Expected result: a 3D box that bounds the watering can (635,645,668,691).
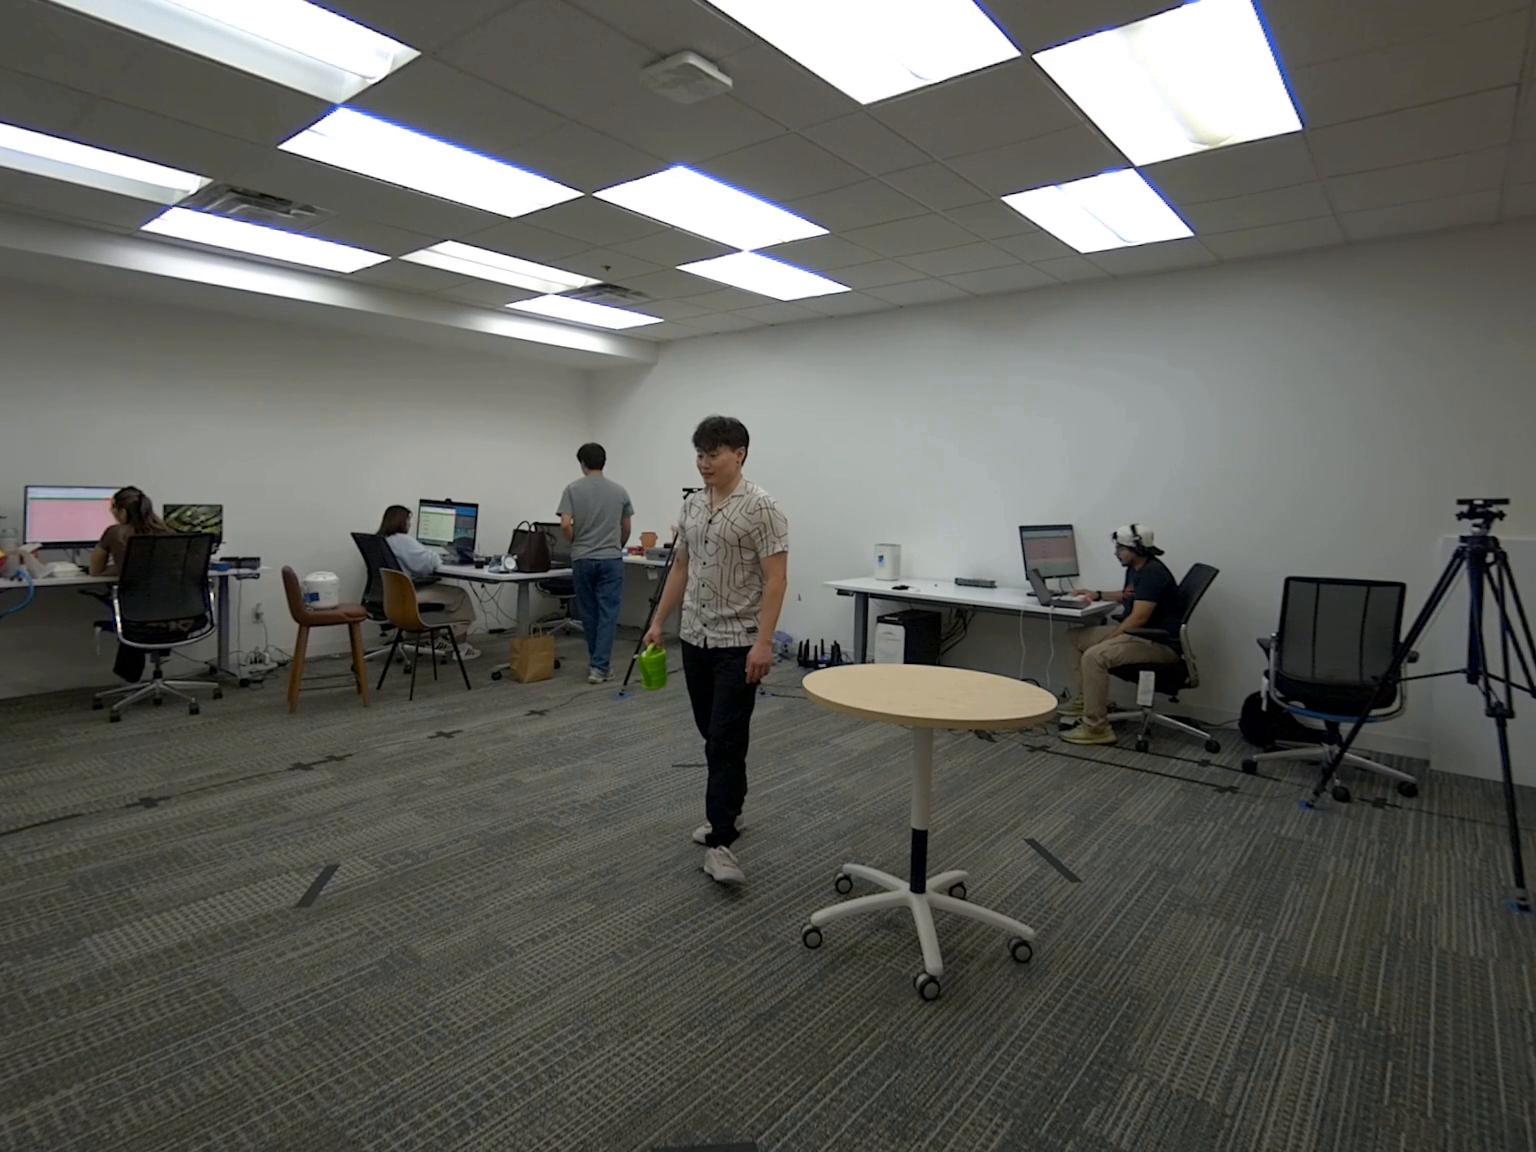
[{"bbox_3d":[-0.484,0.357,3.339,0.101,0.175,0.273,3,11,30],"label":"watering can"}]
